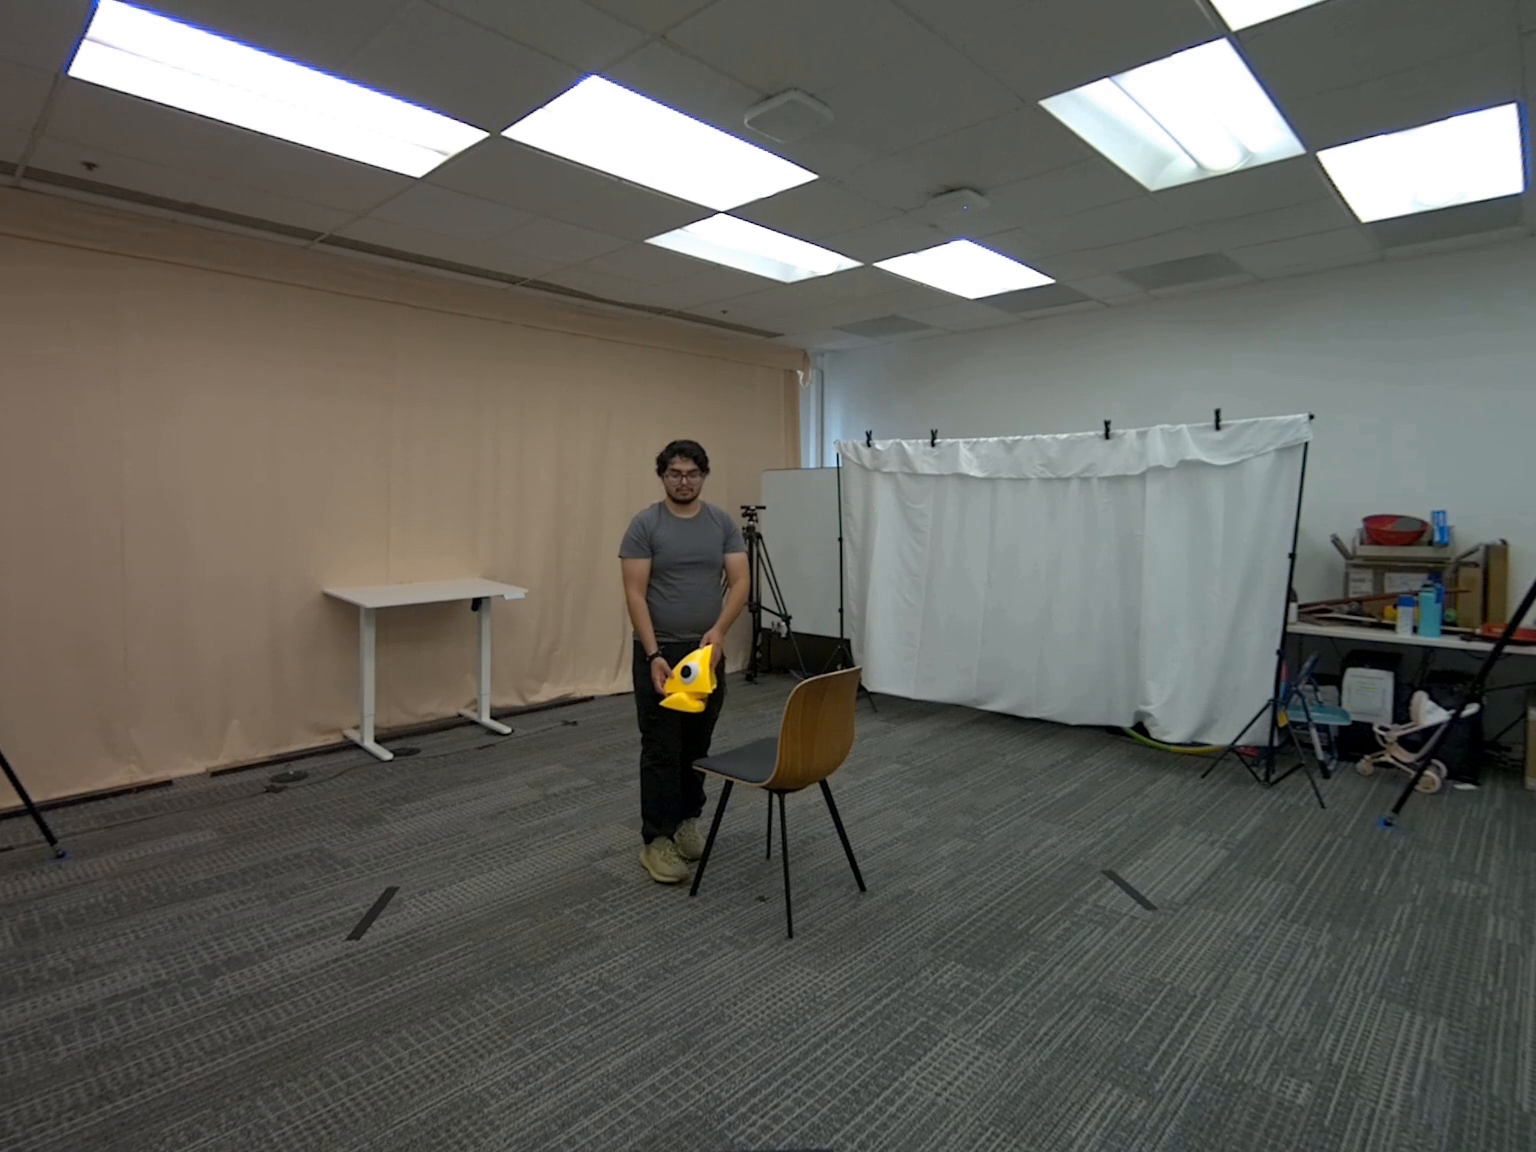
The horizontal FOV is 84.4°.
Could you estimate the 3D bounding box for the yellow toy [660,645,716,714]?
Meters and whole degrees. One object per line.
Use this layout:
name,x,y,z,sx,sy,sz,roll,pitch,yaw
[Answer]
yellow toy,-0.280,0.352,3.053,0.194,0.230,0.204,9,4,5
